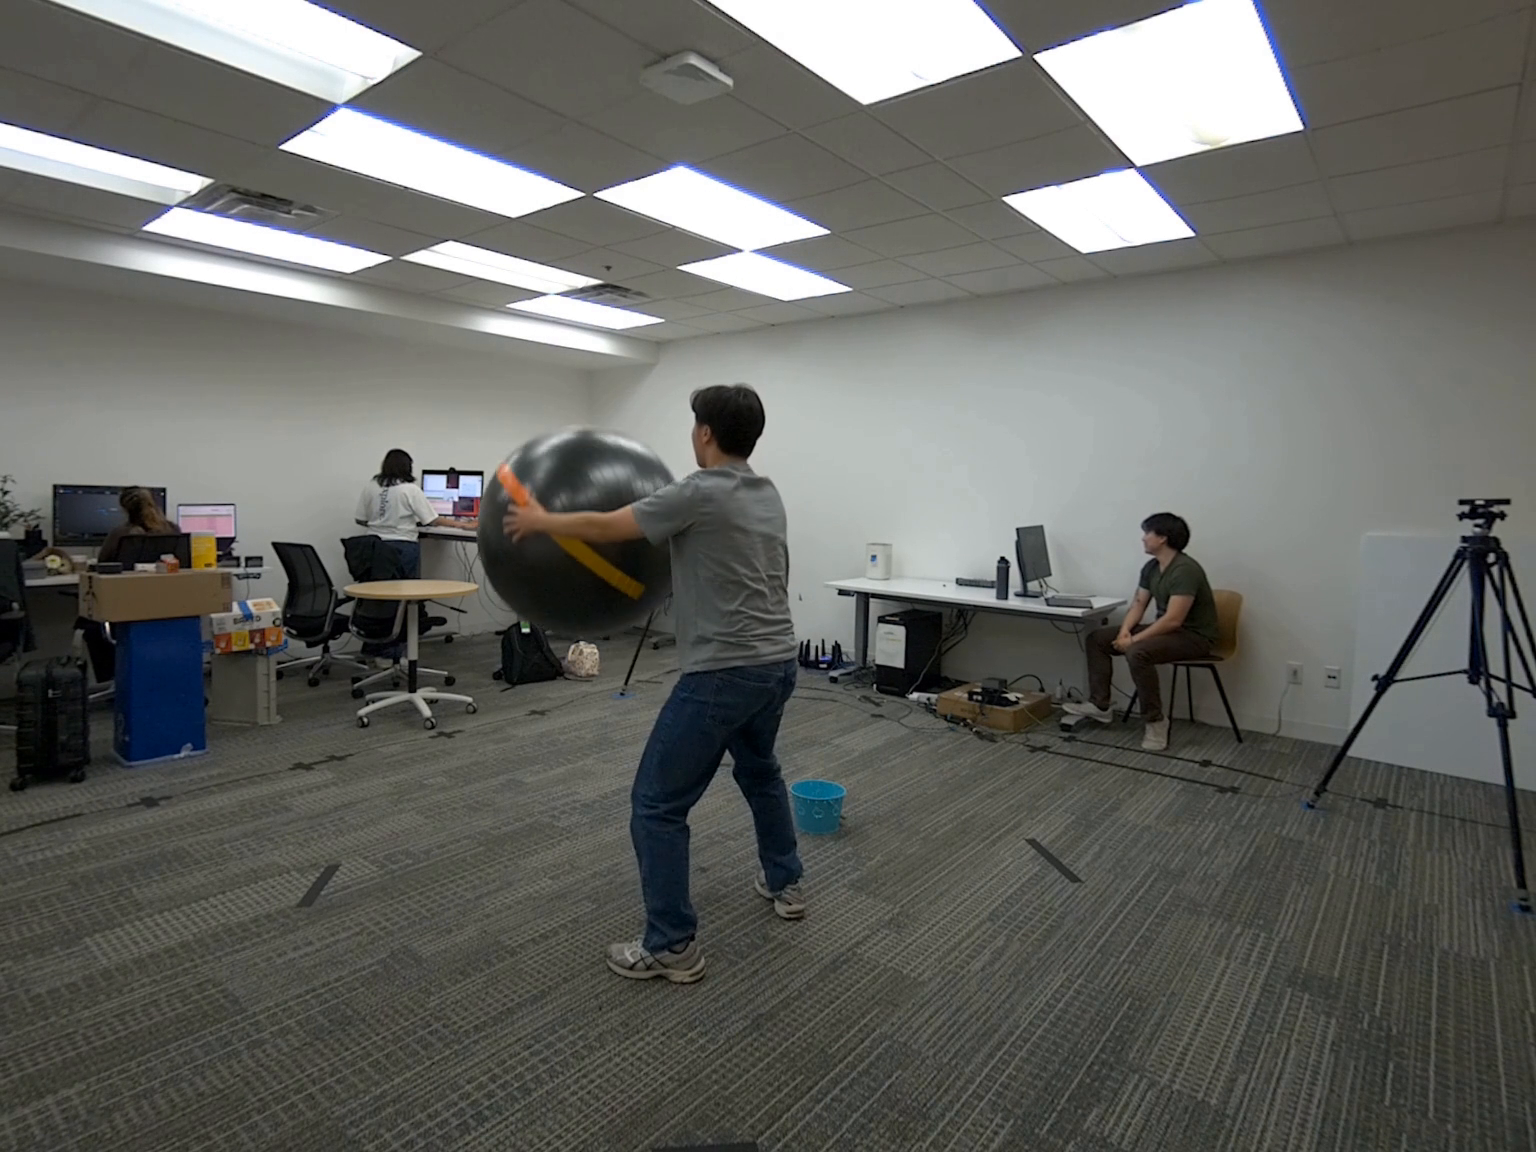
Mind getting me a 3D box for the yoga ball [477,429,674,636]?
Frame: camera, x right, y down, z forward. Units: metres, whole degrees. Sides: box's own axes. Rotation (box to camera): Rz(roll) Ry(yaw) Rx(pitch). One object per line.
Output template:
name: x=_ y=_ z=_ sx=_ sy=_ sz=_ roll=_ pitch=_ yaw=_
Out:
yoga ball: x=-0.660 y=-0.154 z=3.065 sx=0.757 sy=0.755 sz=0.762 roll=1 pitch=4 yaw=-2
